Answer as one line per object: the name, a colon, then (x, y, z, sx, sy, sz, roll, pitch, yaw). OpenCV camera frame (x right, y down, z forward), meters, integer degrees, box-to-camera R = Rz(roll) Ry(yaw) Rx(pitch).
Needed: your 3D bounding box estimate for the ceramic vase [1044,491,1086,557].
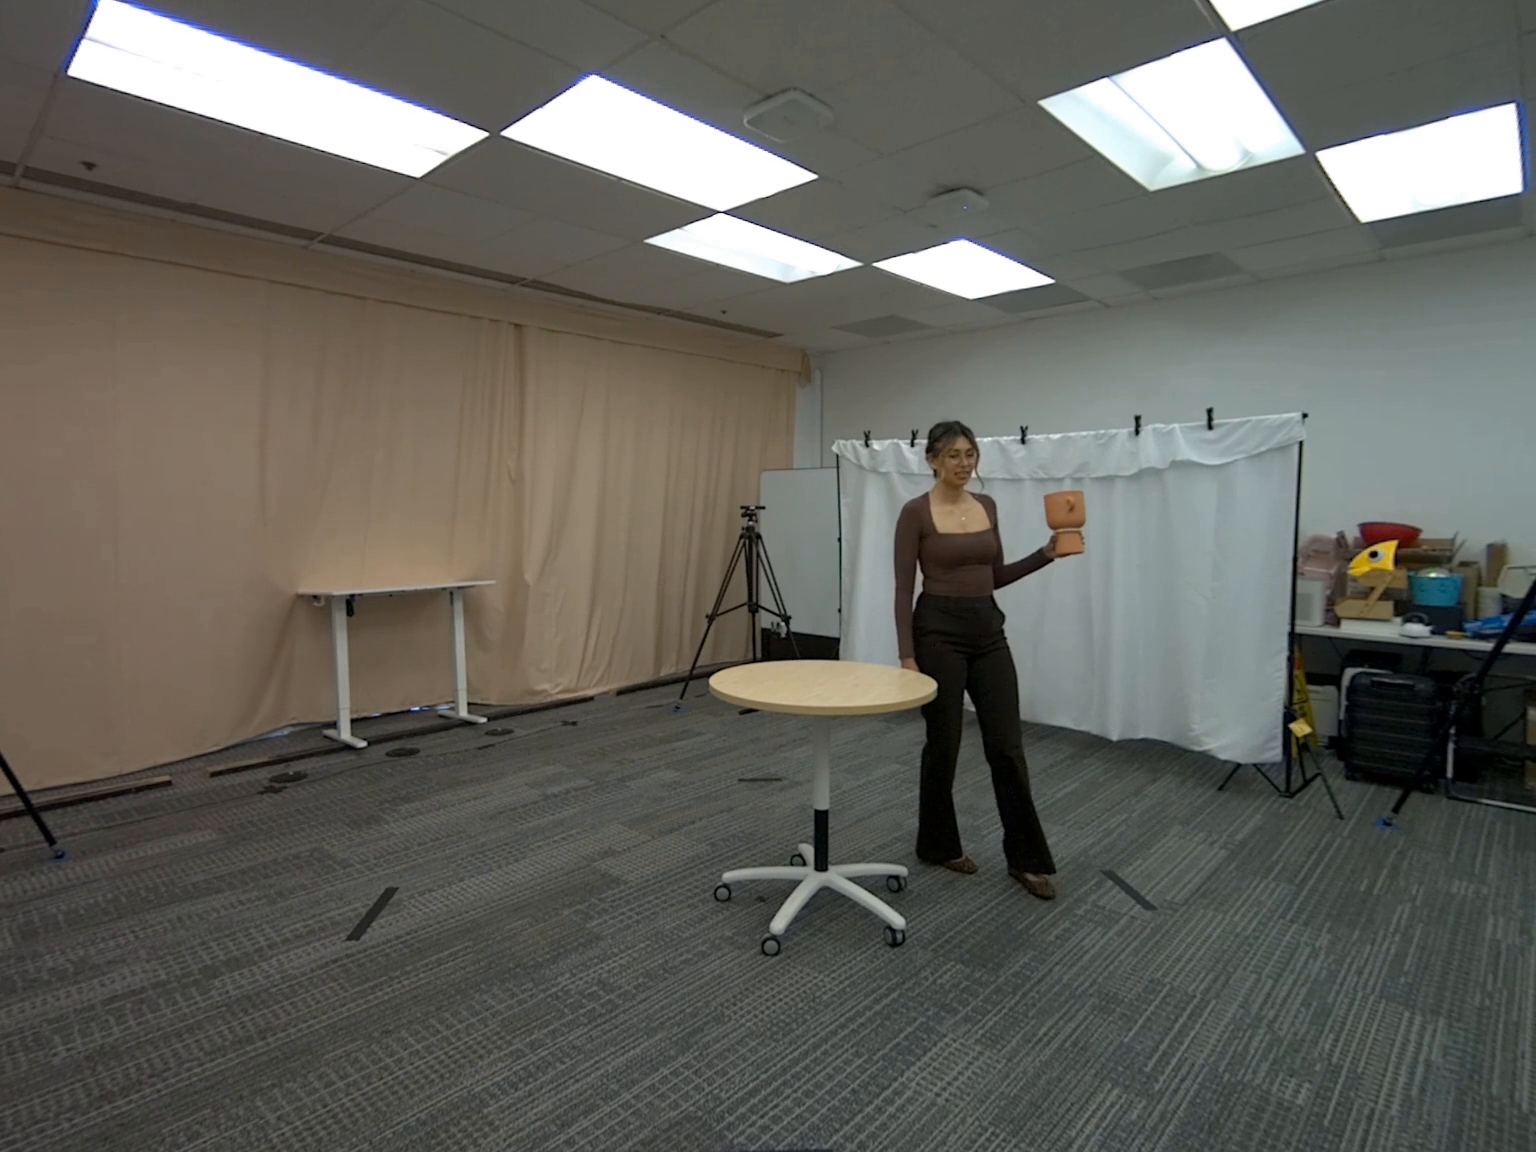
ceramic vase: (1.082, -0.189, 3.024, 0.138, 0.220, 0.154, -8, -7, 44)
